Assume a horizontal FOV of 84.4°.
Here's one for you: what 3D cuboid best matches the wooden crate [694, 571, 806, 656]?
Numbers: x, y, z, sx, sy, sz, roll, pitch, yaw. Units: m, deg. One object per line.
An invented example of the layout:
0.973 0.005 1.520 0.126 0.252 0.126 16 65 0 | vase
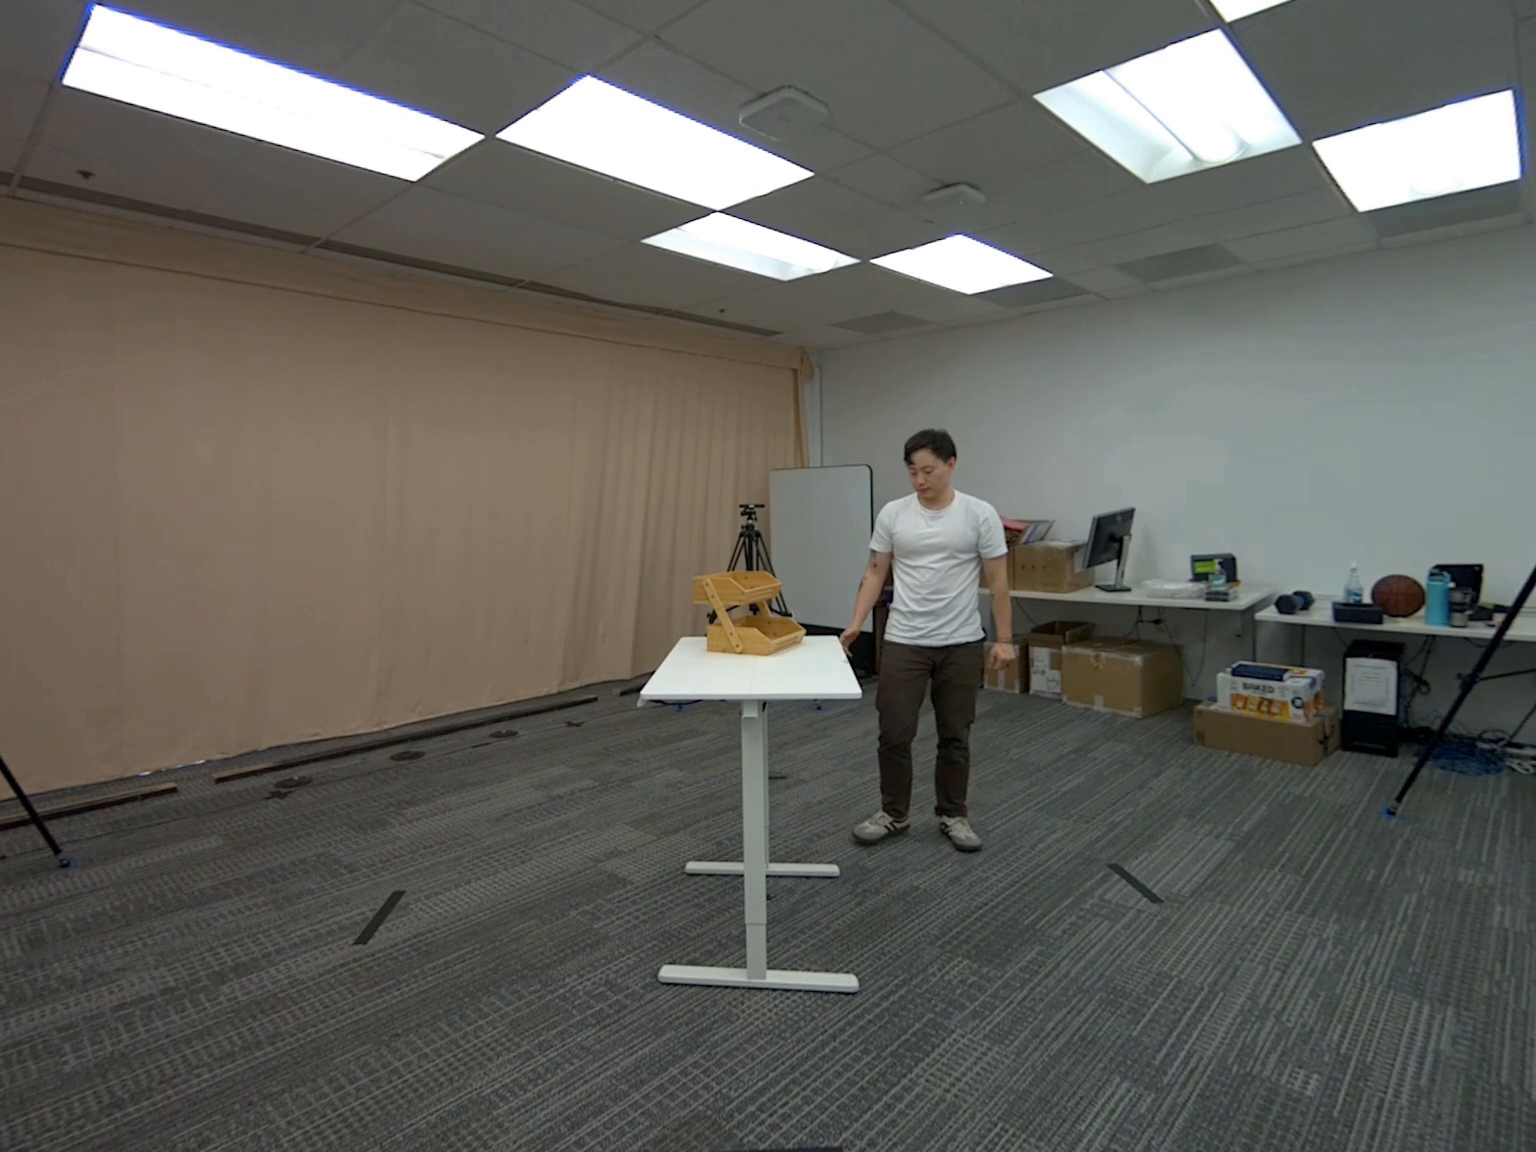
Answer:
-0.063 0.124 3.022 0.310 0.273 0.317 0 4 26 | wooden crate
